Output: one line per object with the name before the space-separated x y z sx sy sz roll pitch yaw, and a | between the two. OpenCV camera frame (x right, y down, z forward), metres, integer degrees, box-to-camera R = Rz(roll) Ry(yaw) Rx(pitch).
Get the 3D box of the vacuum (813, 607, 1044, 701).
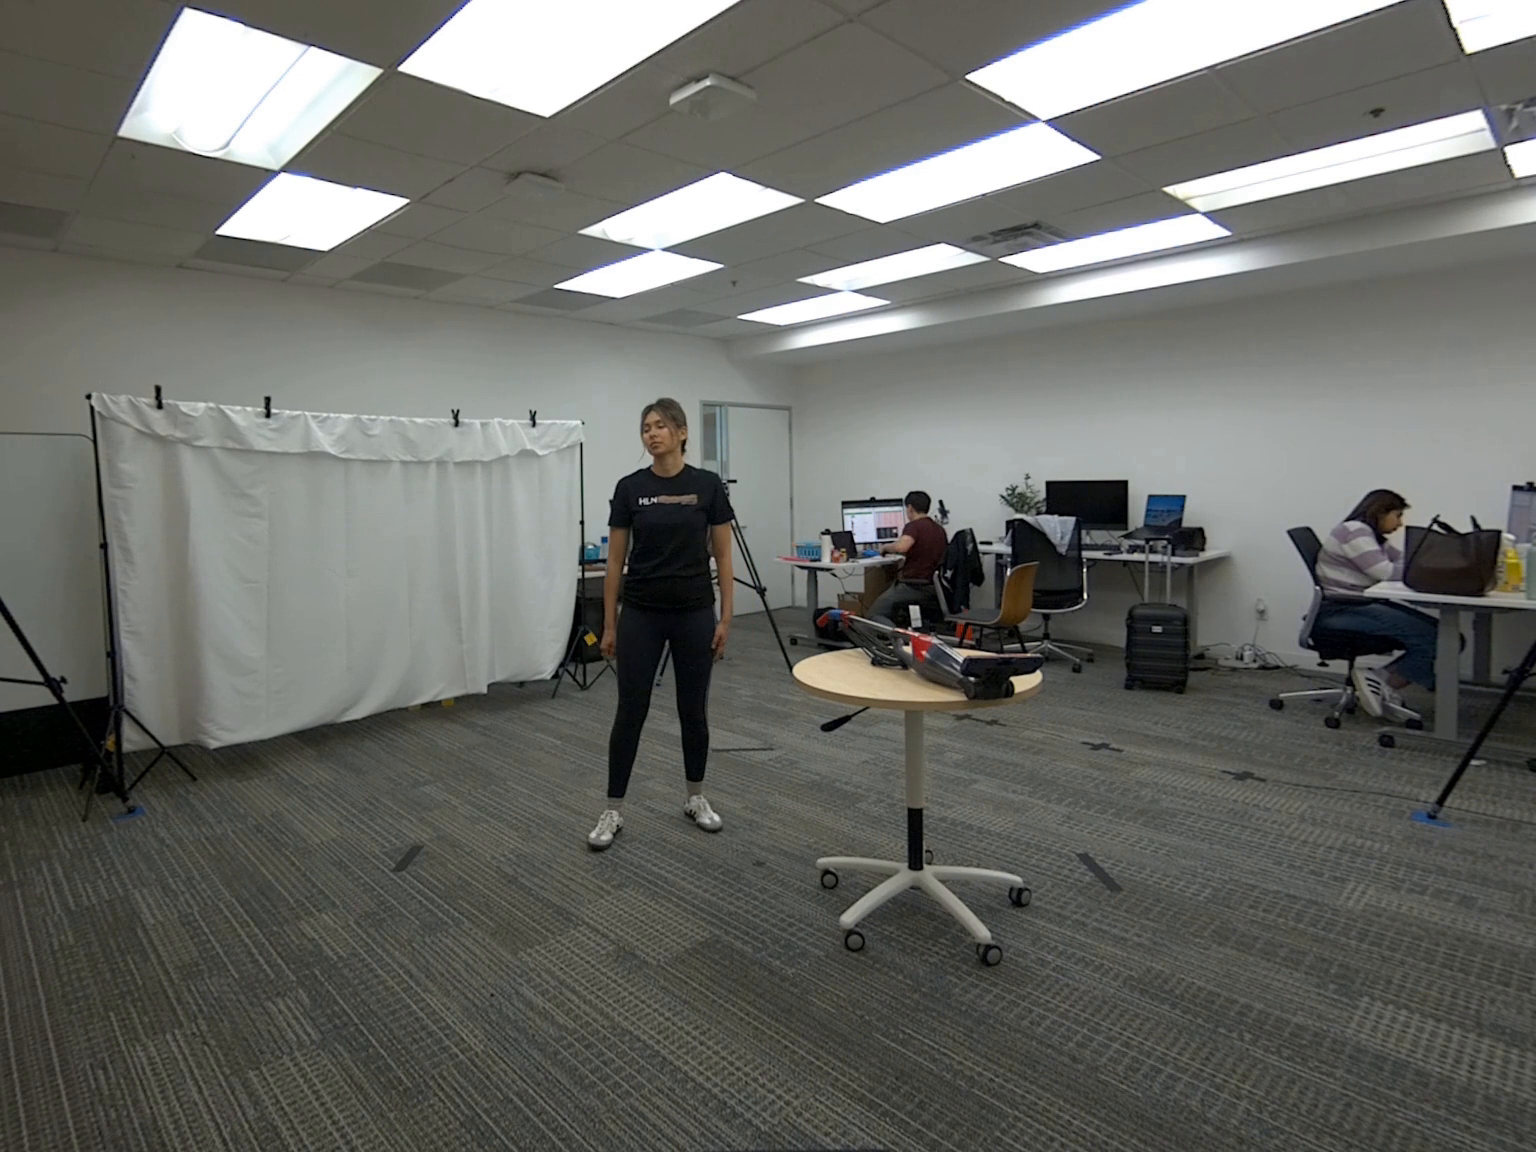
vacuum | 0.416 0.240 2.780 0.247 0.144 1.073 3 4 -23
